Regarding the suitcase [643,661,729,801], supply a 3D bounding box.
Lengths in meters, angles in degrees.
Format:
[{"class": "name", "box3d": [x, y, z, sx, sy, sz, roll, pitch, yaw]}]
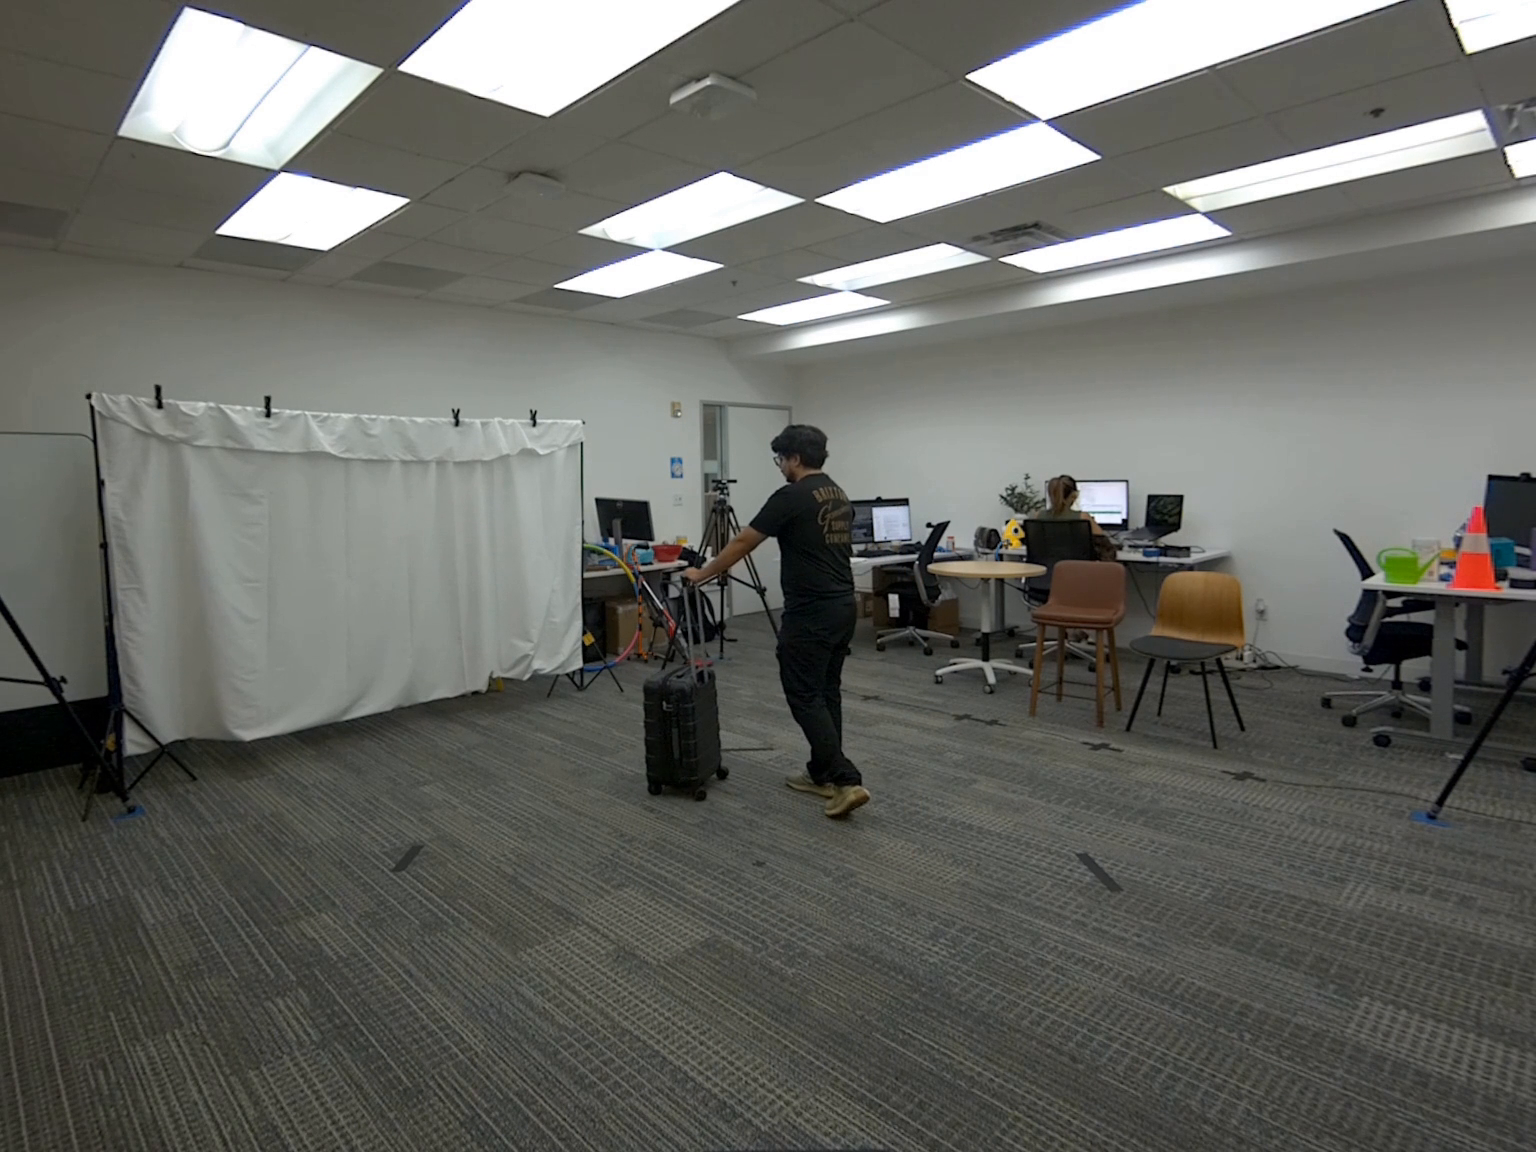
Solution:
[{"class": "suitcase", "box3d": [-0.403, 0.493, 3.900, 0.261, 0.976, 0.378, -5, 3, 19]}]
